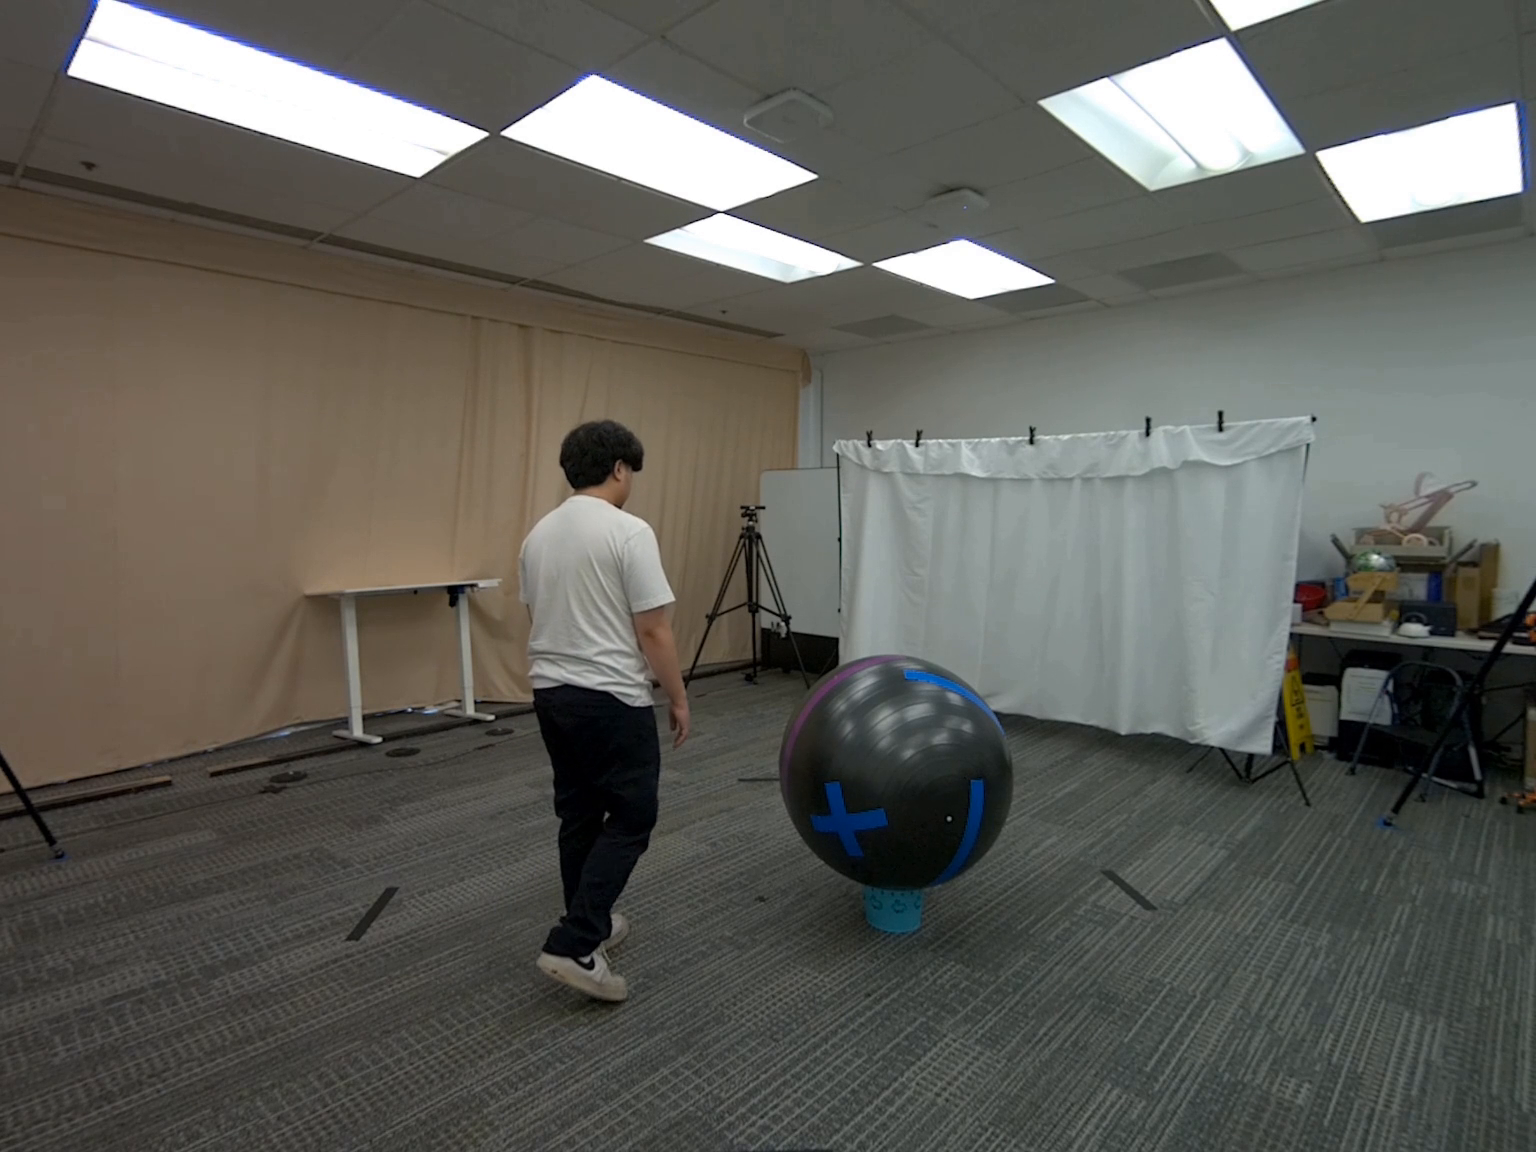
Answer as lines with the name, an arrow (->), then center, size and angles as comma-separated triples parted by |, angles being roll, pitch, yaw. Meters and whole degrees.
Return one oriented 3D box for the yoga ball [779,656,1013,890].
yoga ball -> 0.422, 0.645, 2.809 | 0.757, 0.756, 0.760 | 0, 4, -2
